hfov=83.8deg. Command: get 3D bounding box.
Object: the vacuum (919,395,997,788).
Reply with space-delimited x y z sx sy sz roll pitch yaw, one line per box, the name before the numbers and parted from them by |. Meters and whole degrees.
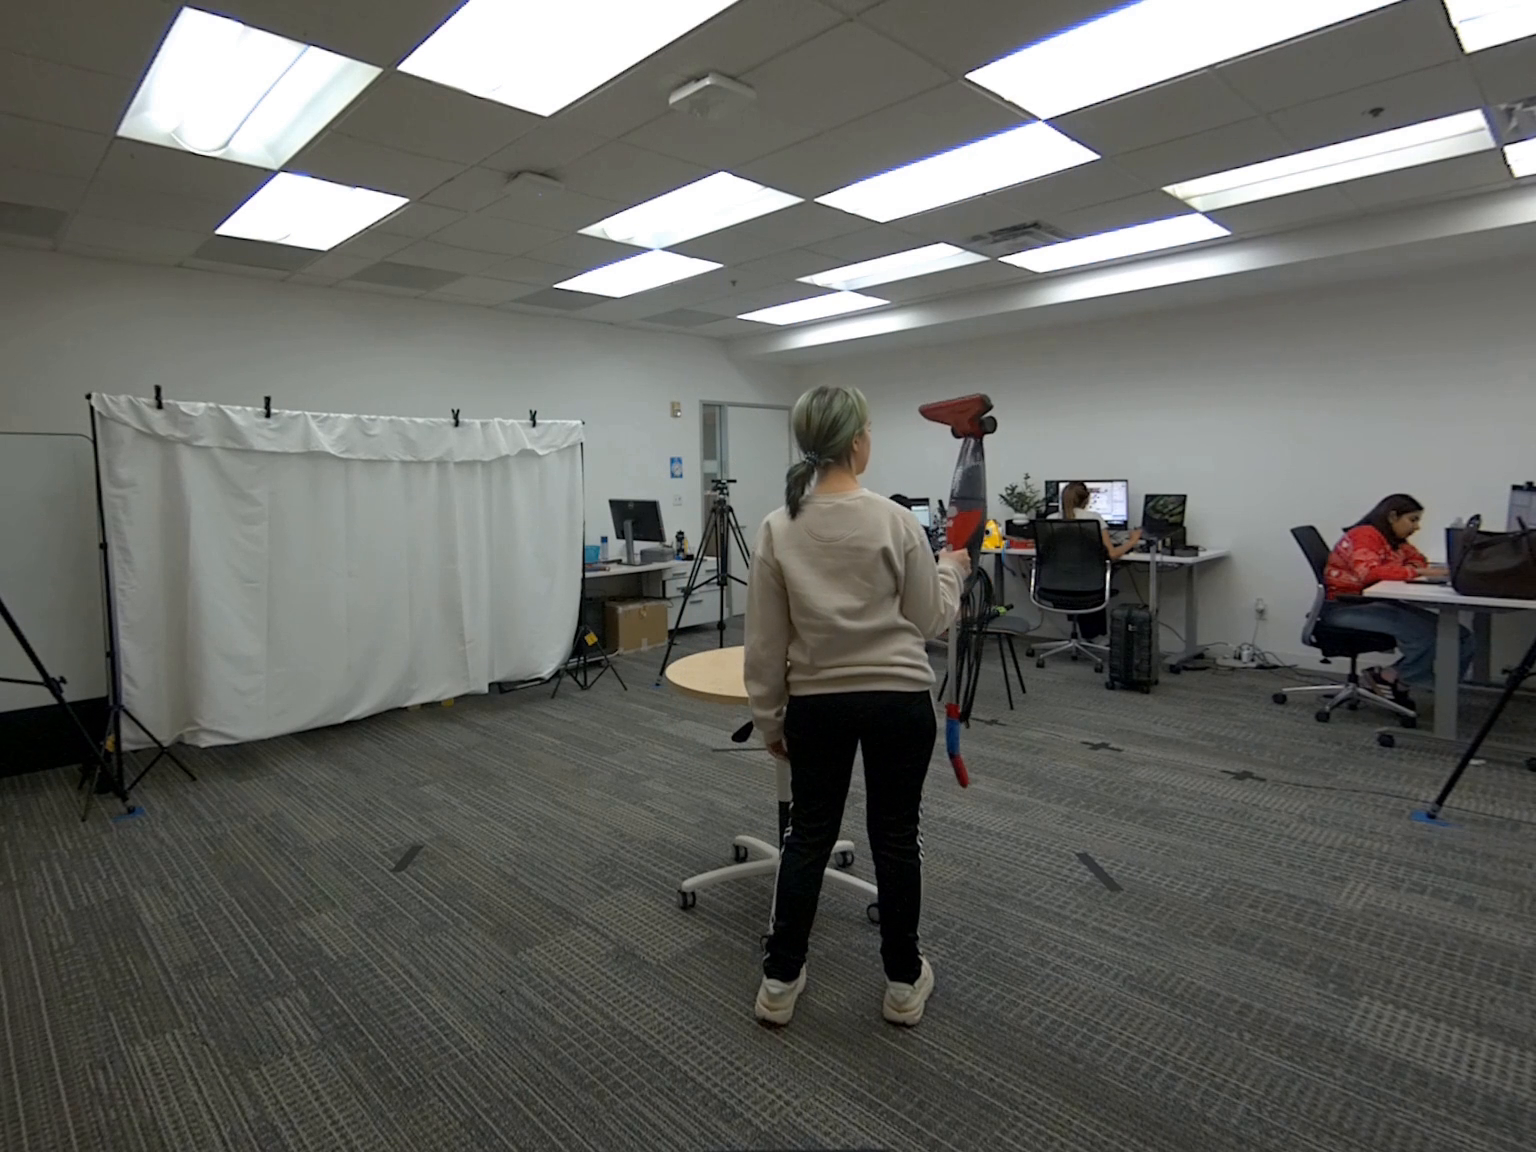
vacuum | 0.566 0.055 2.425 0.140 1.048 0.259 0 1 -31
